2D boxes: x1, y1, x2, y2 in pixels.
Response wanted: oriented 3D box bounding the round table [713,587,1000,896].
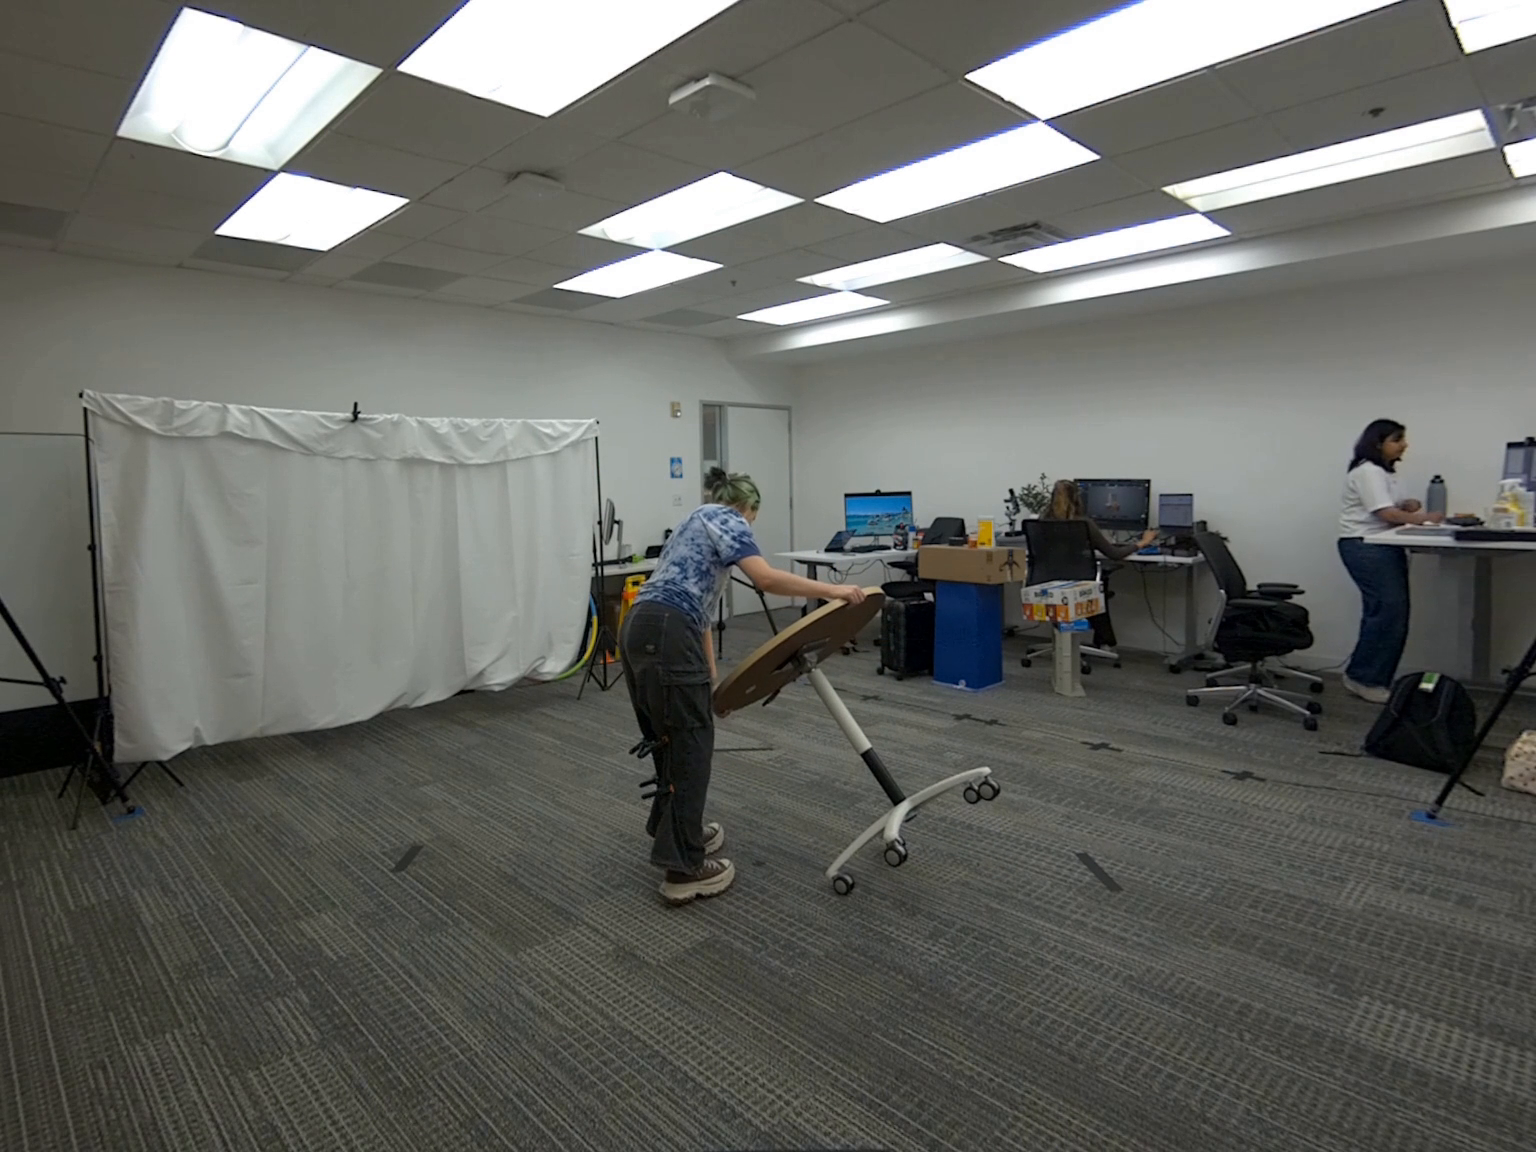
[{"bbox_3d":[0.321,0.585,3.032,0.760,0.813,0.750,-29,-18,-13],"label":"round table"}]
